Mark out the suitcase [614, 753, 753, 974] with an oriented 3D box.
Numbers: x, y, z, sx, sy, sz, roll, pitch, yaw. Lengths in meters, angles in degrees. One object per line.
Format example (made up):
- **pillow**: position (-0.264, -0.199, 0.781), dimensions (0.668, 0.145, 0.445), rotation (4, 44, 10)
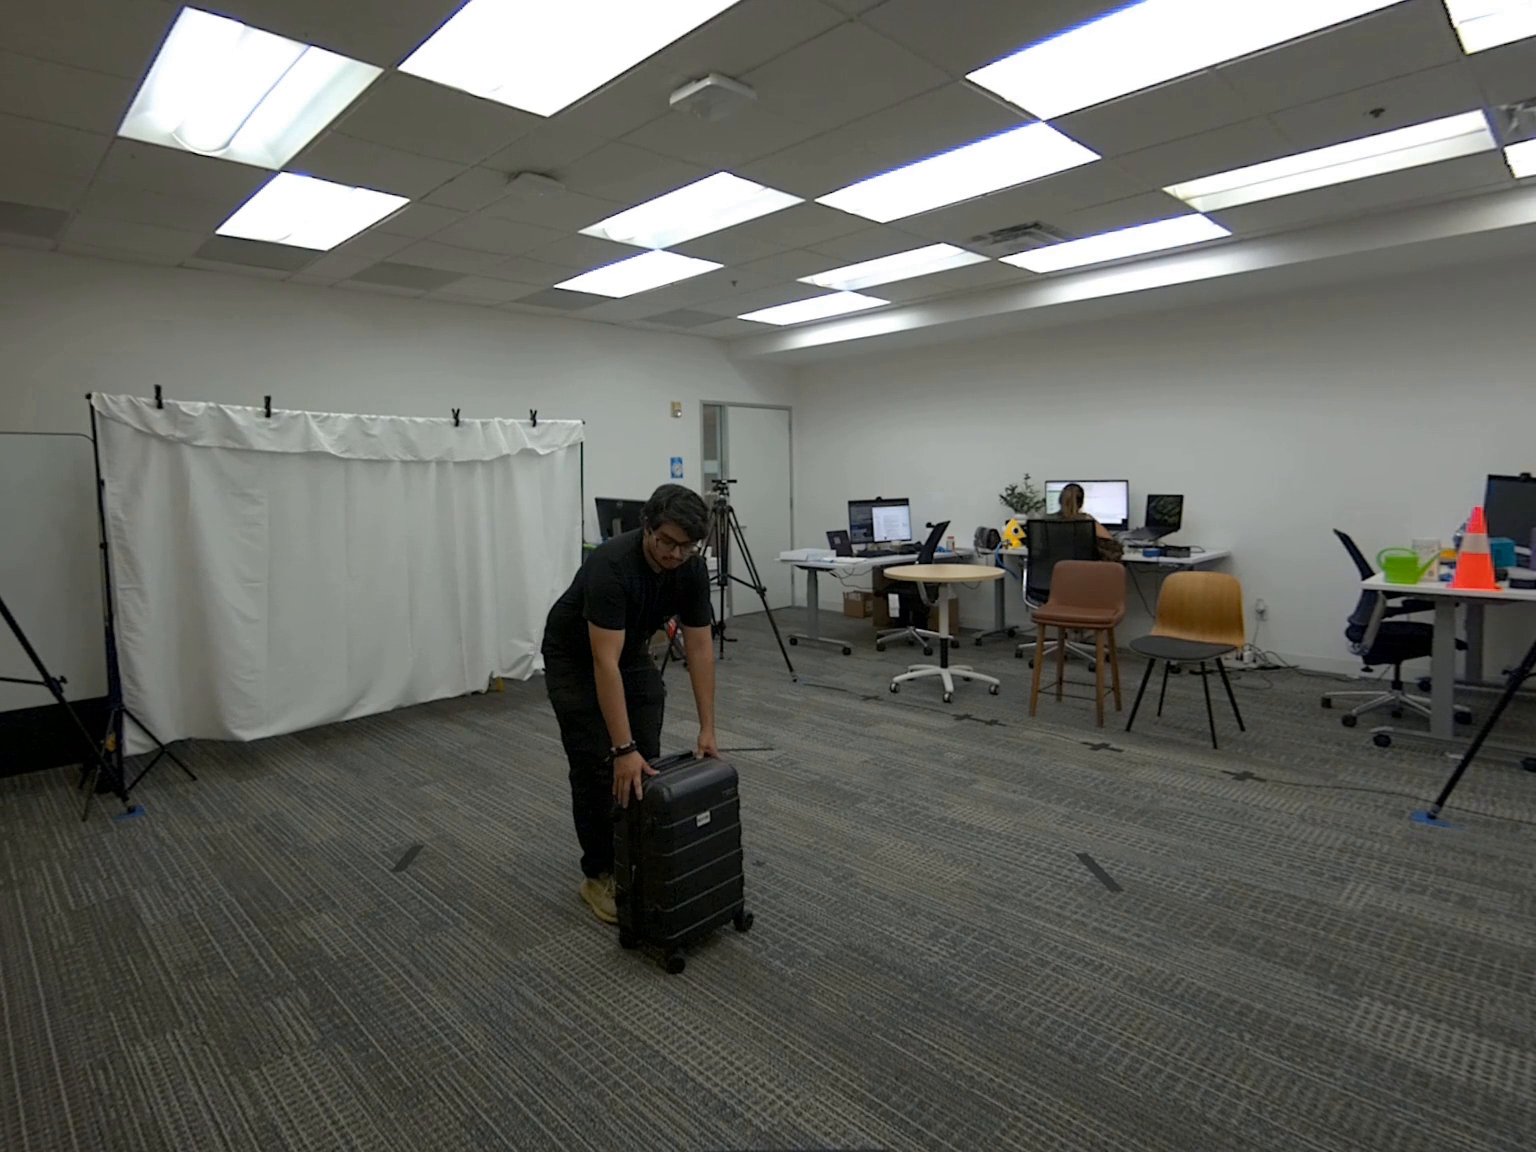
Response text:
- **suitcase**: position (-0.264, 0.833, 2.605), dimensions (0.256, 0.547, 0.366), rotation (1, 6, 42)
